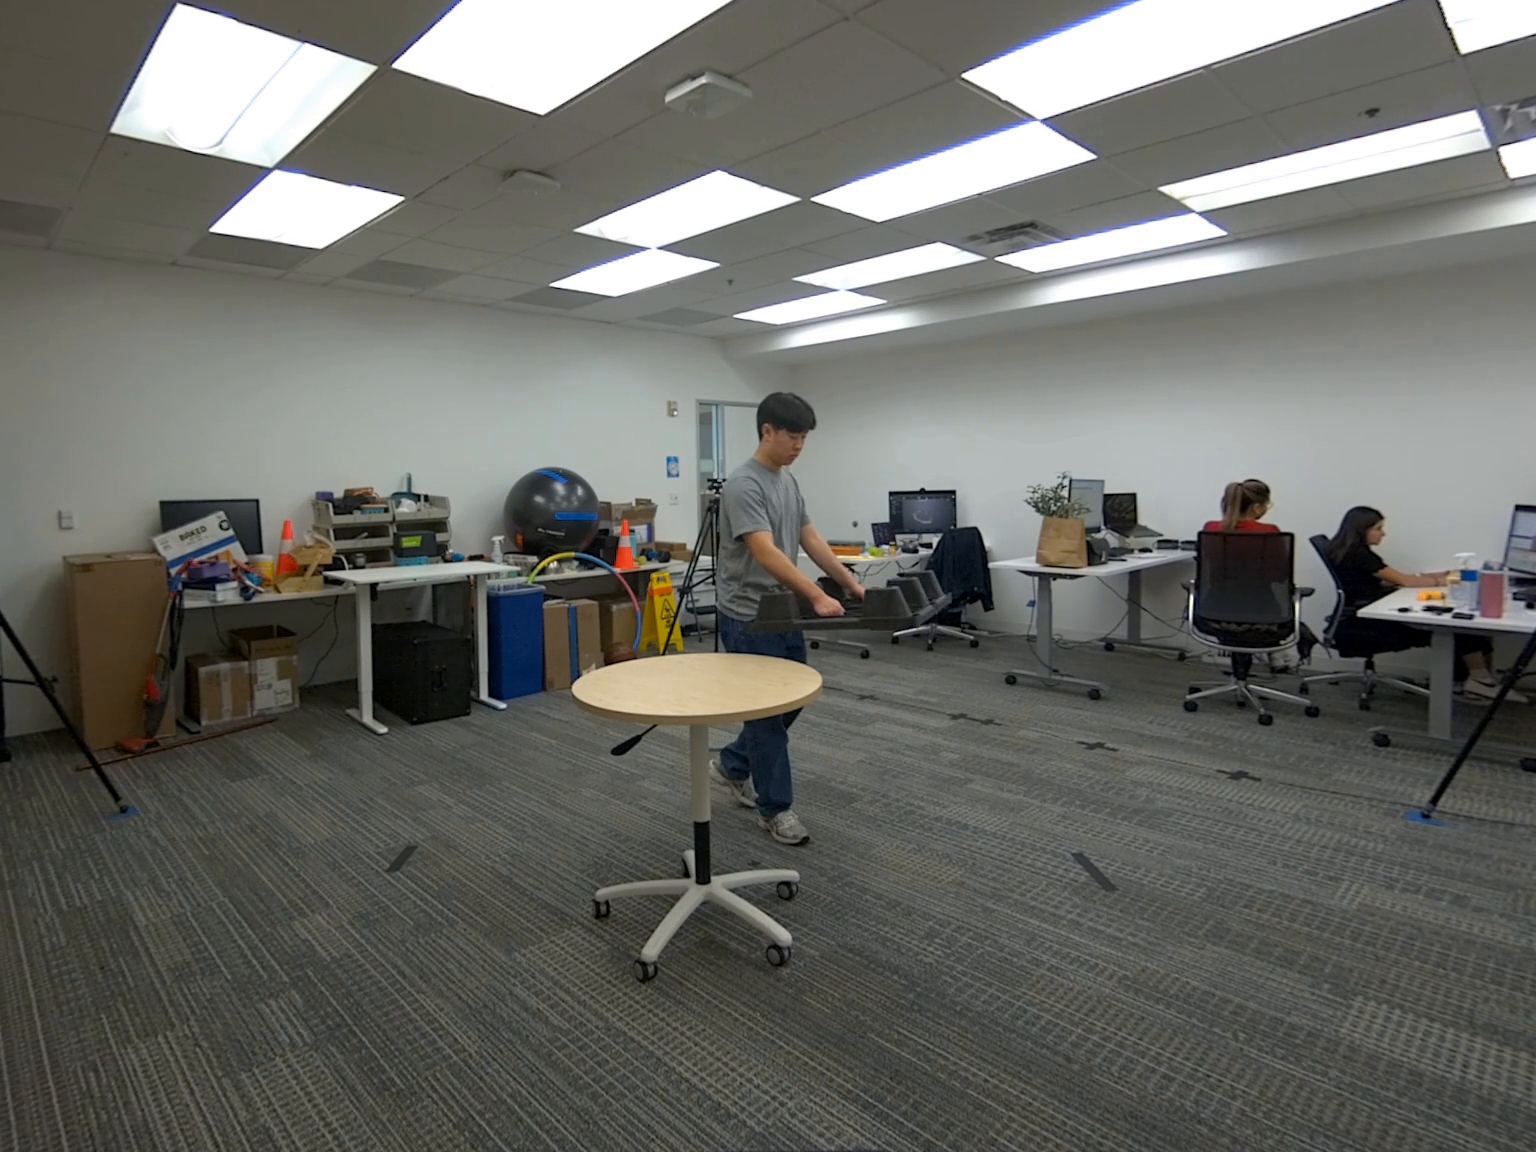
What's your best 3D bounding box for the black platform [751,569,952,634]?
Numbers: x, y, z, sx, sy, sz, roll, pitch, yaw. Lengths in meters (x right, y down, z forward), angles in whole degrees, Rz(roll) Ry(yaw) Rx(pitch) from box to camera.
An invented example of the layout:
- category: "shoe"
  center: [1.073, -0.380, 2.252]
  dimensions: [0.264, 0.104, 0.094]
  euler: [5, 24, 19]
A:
- category: "black platform"
  center: [0.336, 0.095, 3.215]
  dimensions: [0.617, 0.143, 0.792]
  euler: [-3, 4, 22]
